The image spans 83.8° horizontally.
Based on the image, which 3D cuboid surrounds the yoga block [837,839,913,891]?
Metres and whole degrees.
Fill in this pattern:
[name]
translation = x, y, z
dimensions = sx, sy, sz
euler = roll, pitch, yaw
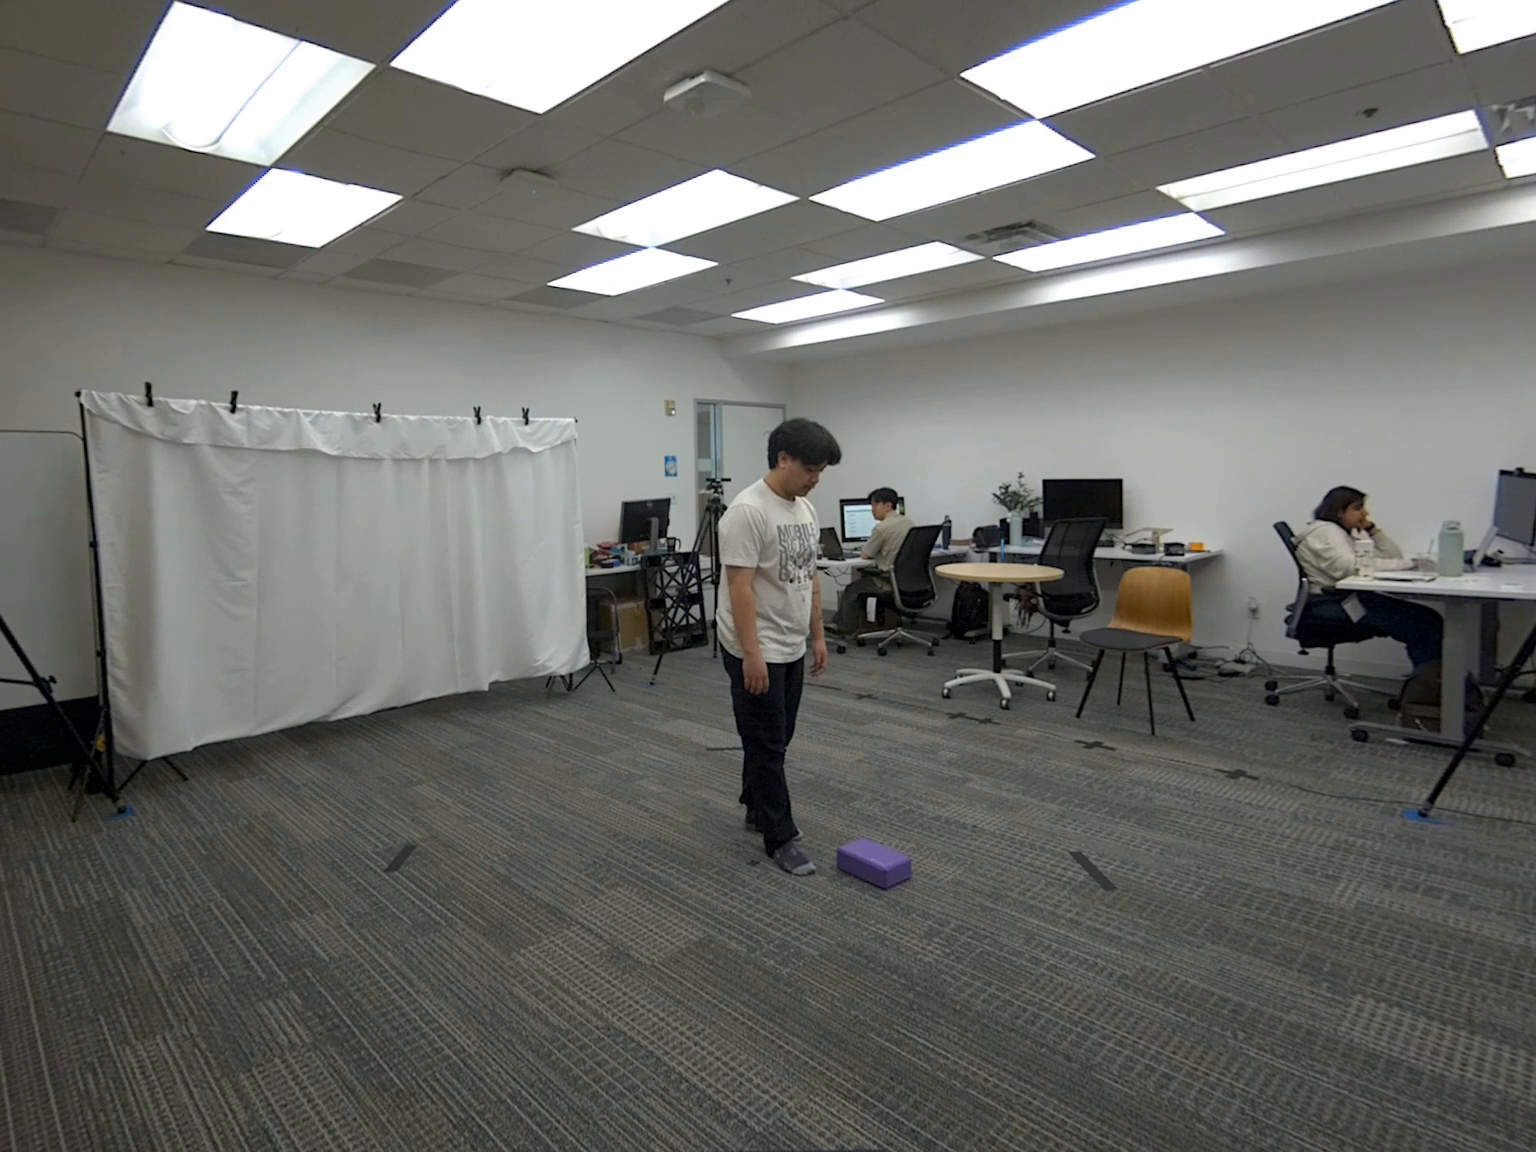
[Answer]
[yoga block]
translation = 0.374, 1.009, 3.004
dimensions = 0.145, 0.076, 0.236
euler = -5, 7, -41
